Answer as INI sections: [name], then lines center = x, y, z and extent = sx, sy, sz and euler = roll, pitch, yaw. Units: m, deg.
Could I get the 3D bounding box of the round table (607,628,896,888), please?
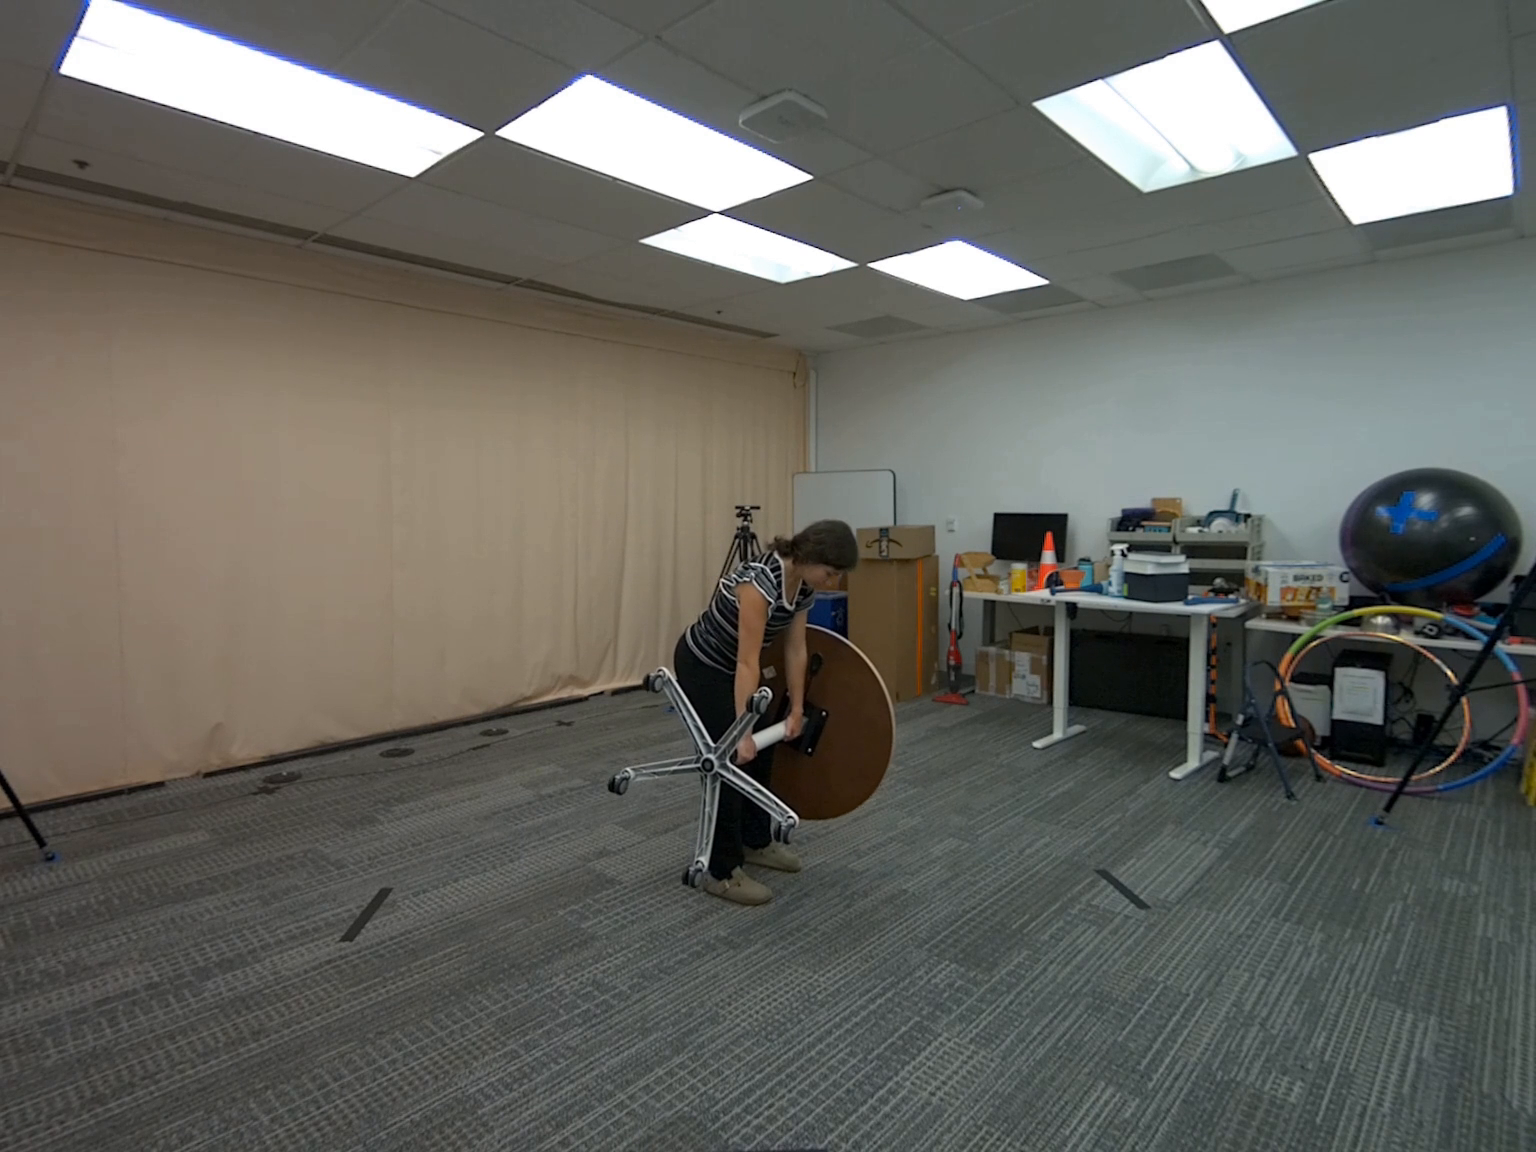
[round table]
center = -0.043, 0.604, 2.981
extent = 0.786, 0.762, 0.773
euler = 2, 4, 30
